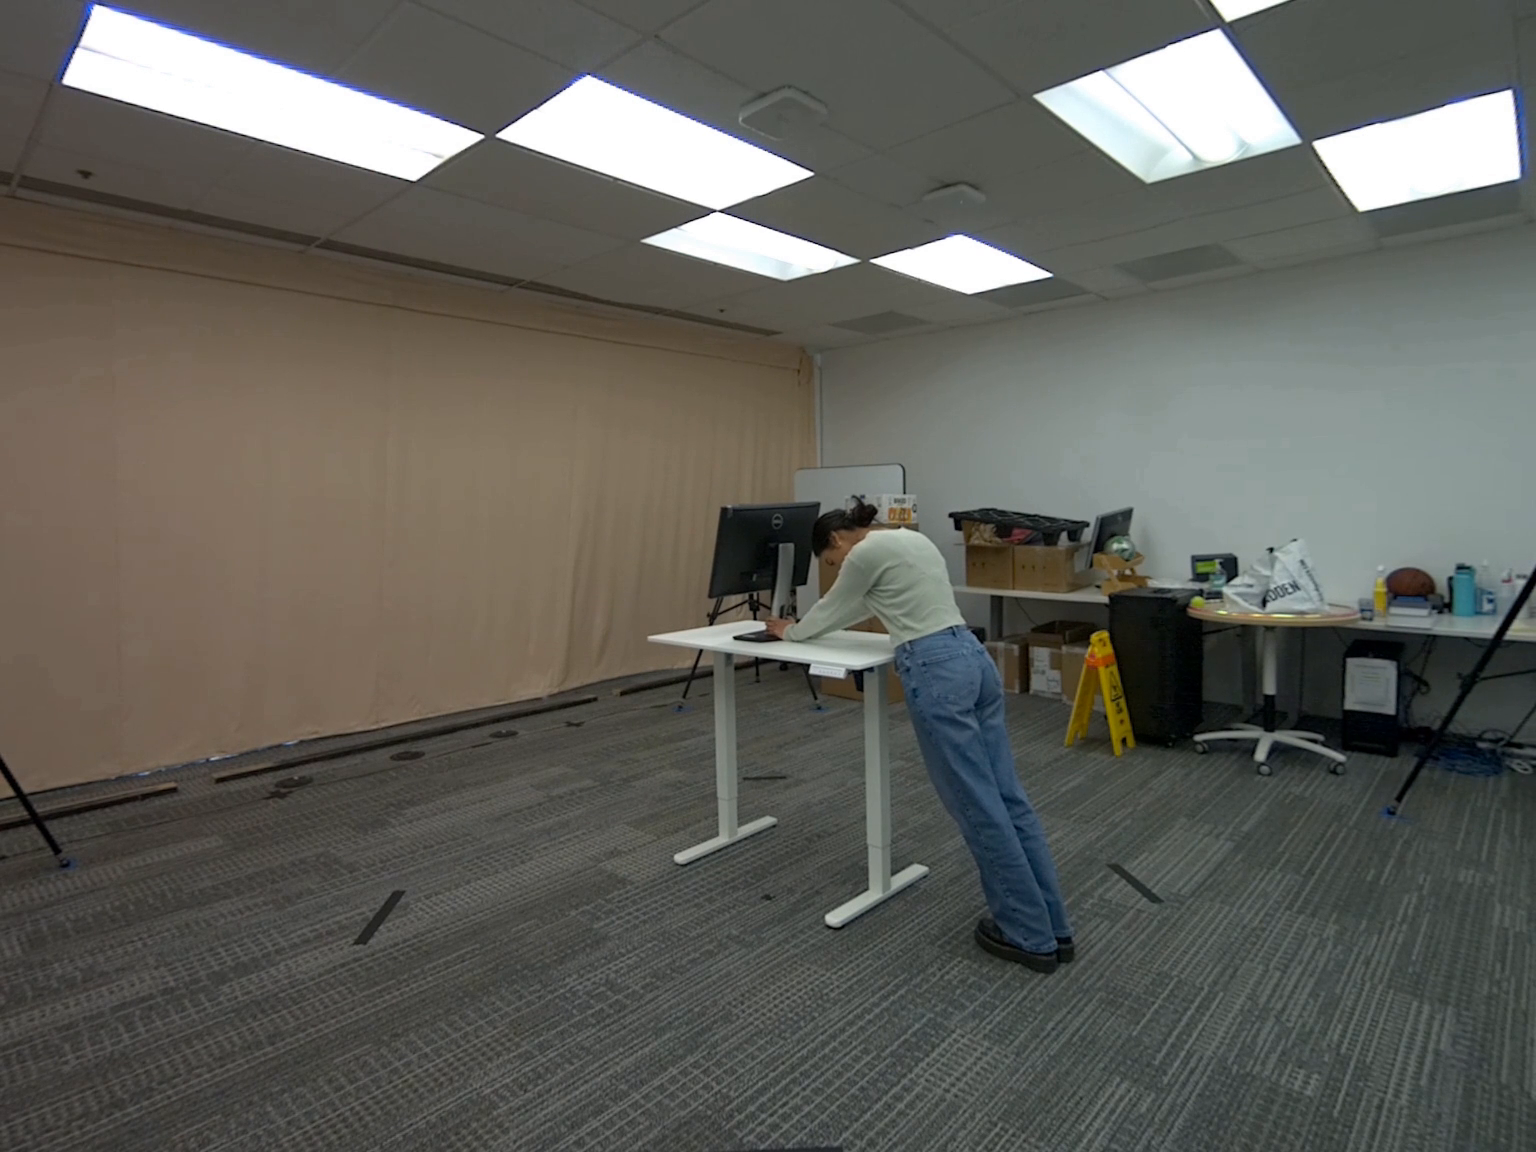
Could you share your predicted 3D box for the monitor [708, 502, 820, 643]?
[{"bbox_3d":[0.017,-0.017,3.231,0.193,0.521,0.523,5,7,43],"label":"monitor"}]
